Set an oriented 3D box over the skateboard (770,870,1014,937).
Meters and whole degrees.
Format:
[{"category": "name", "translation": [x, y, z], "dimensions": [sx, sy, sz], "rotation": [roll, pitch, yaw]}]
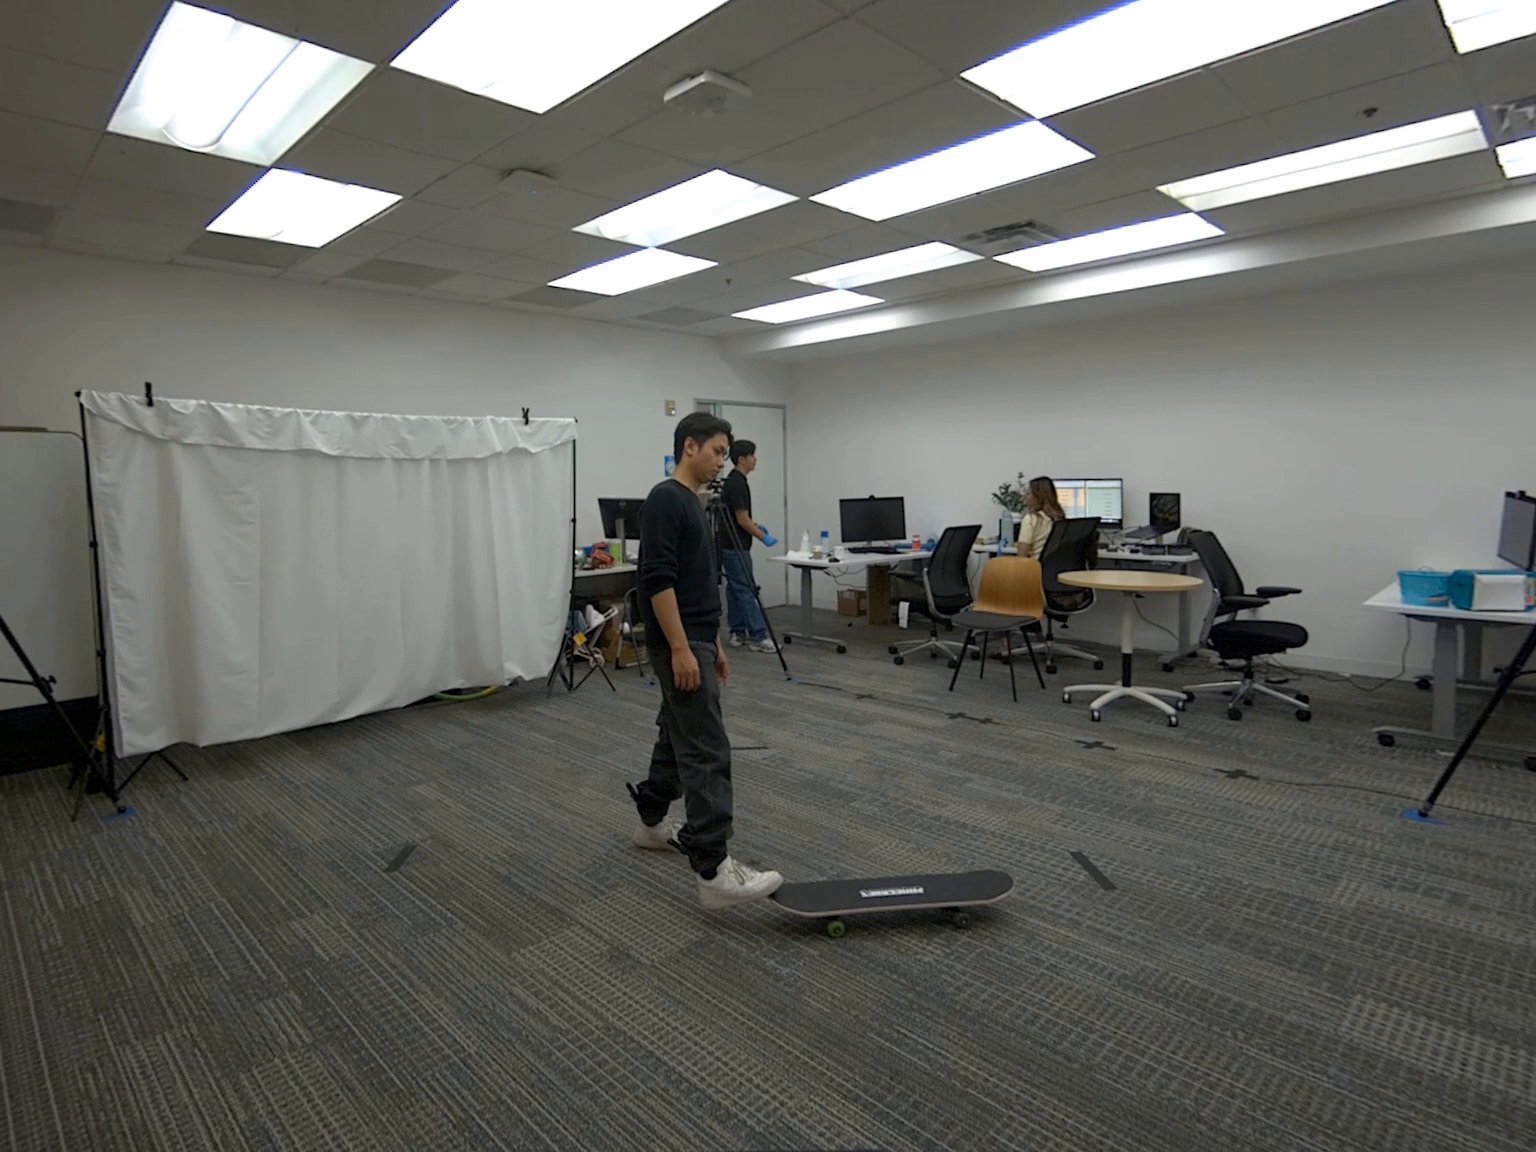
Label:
[{"category": "skateboard", "translation": [0.390, 1.020, 2.684], "dimensions": [0.781, 0.110, 0.195], "rotation": [-2, 6, -5]}]
